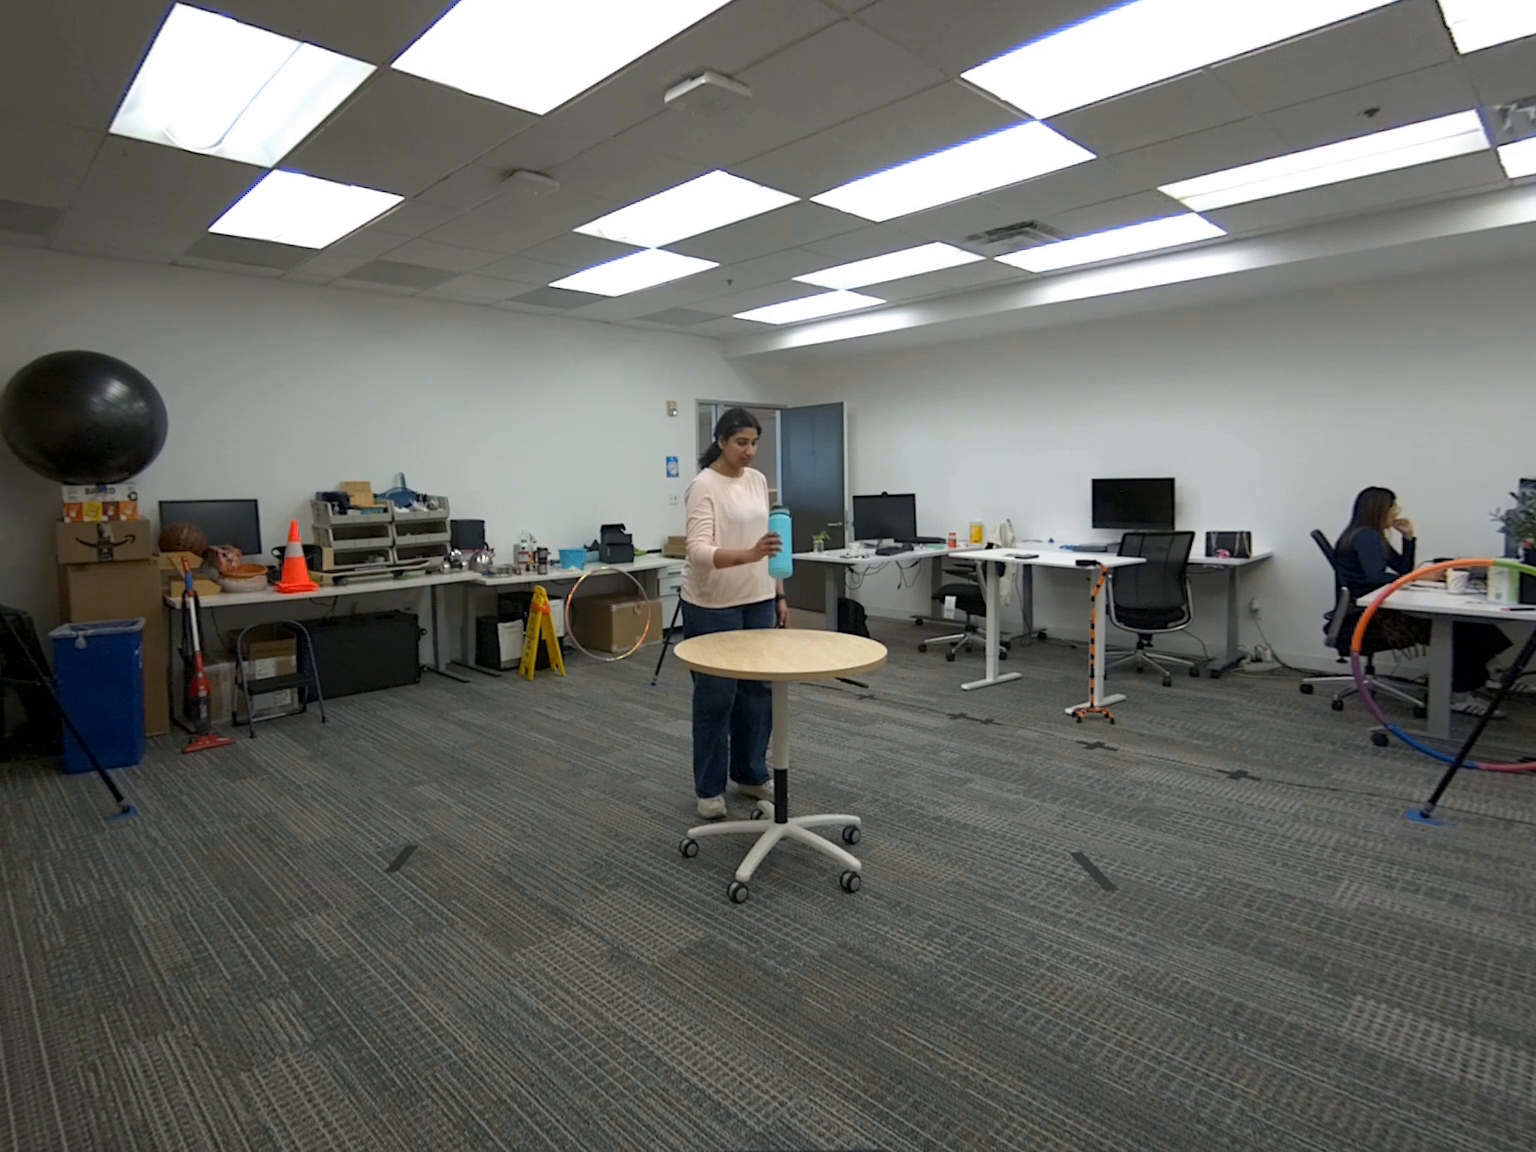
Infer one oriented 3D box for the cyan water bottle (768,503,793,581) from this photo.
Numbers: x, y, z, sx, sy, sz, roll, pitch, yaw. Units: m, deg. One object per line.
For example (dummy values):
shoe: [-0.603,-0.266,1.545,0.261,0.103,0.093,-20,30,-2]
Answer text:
cyan water bottle: [0.046,-0.137,3.230,0.092,0.288,0.091,-1,-19,-2]
